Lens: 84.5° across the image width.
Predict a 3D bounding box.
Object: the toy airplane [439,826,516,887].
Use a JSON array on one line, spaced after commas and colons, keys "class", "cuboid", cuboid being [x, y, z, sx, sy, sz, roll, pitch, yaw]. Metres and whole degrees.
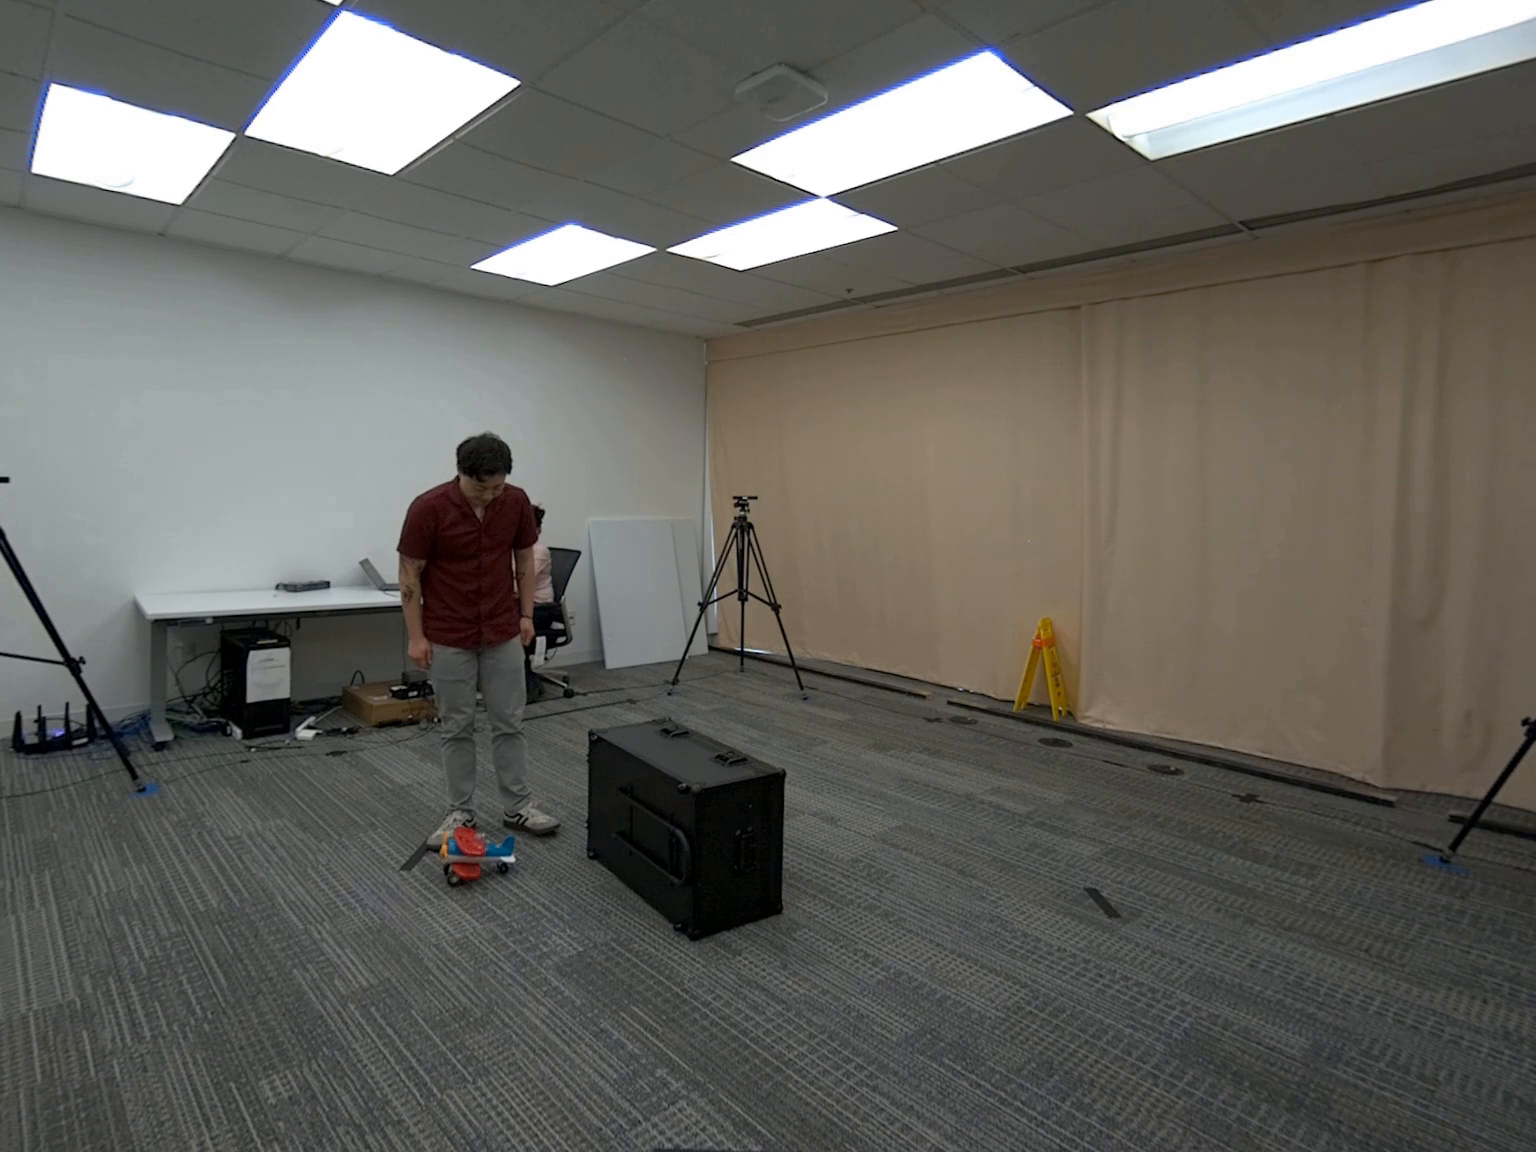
[{"class": "toy airplane", "cuboid": [-1.062, 1.008, 3.057, 0.257, 0.156, 0.254, 4, 7, 33]}]
